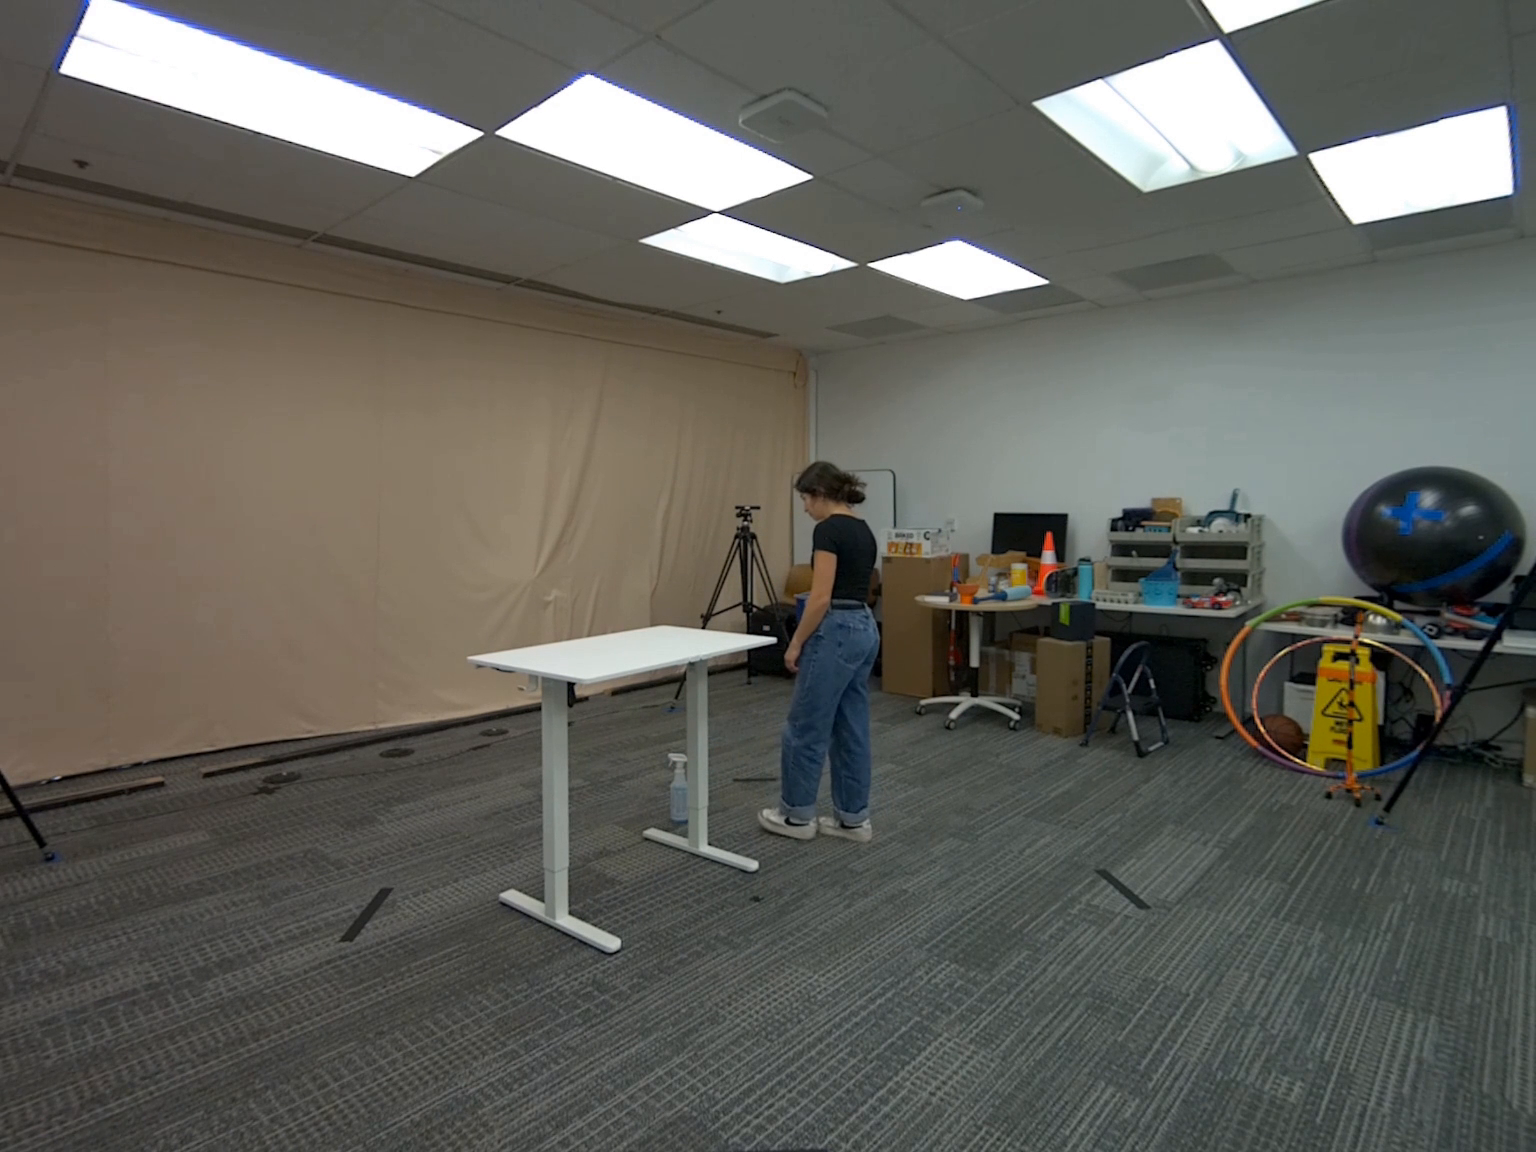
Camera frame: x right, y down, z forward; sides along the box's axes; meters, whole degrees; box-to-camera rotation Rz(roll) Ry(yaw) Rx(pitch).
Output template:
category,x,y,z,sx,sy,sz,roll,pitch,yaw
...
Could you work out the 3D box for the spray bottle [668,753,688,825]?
category,x,y,z,sx,sy,sz,roll,pitch,yaw
spray bottle,-0.392,0.943,3.743,0.092,0.296,0.085,0,5,20
